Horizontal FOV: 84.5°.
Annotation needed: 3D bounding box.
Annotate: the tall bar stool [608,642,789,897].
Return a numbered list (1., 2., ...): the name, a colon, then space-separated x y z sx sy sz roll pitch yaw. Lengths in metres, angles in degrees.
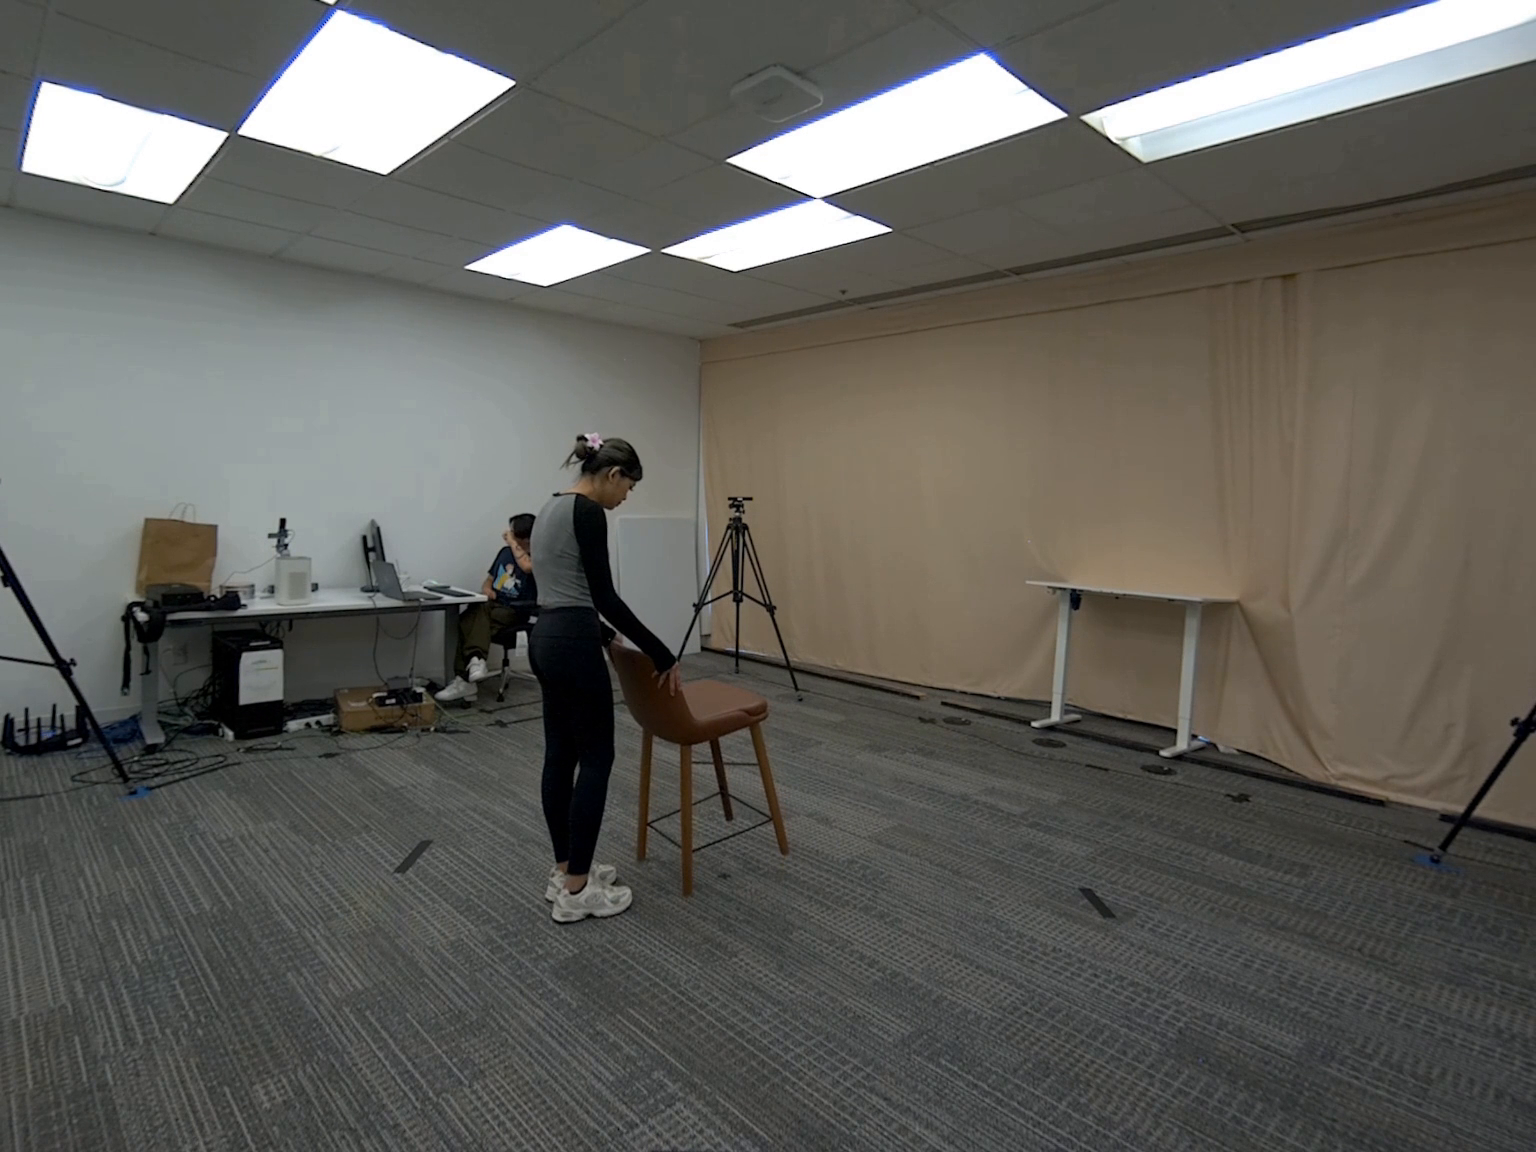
1. tall bar stool: -0.275 0.640 3.143 0.460 0.882 0.468 -13 12 -33
